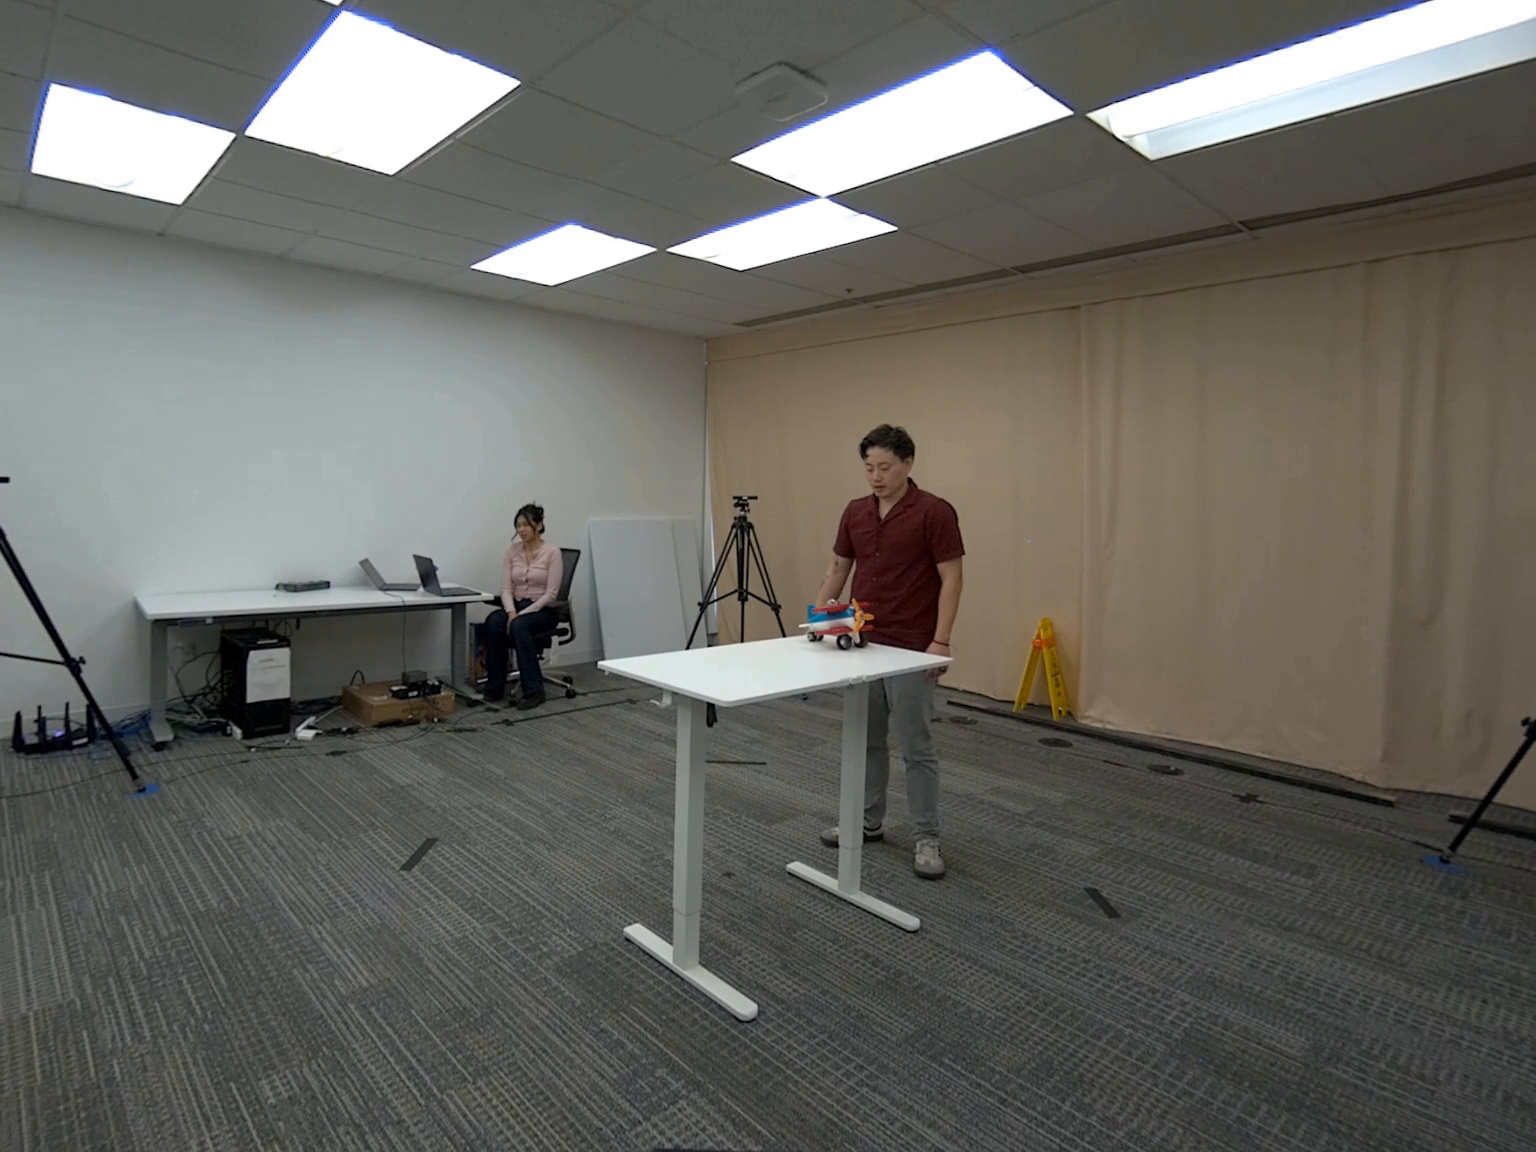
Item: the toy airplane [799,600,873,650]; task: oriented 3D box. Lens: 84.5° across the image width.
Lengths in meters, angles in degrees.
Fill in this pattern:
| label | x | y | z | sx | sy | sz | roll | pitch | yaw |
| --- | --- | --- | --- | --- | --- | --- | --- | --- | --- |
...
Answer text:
| label | x | y | z | sx | sy | sz | roll | pitch | yaw |
| --- | --- | --- | --- | --- | --- | --- | --- | --- | --- |
| toy airplane | 0.211 | 0.165 | 2.942 | 0.263 | 0.156 | 0.247 | 6 | 5 | 20 |
